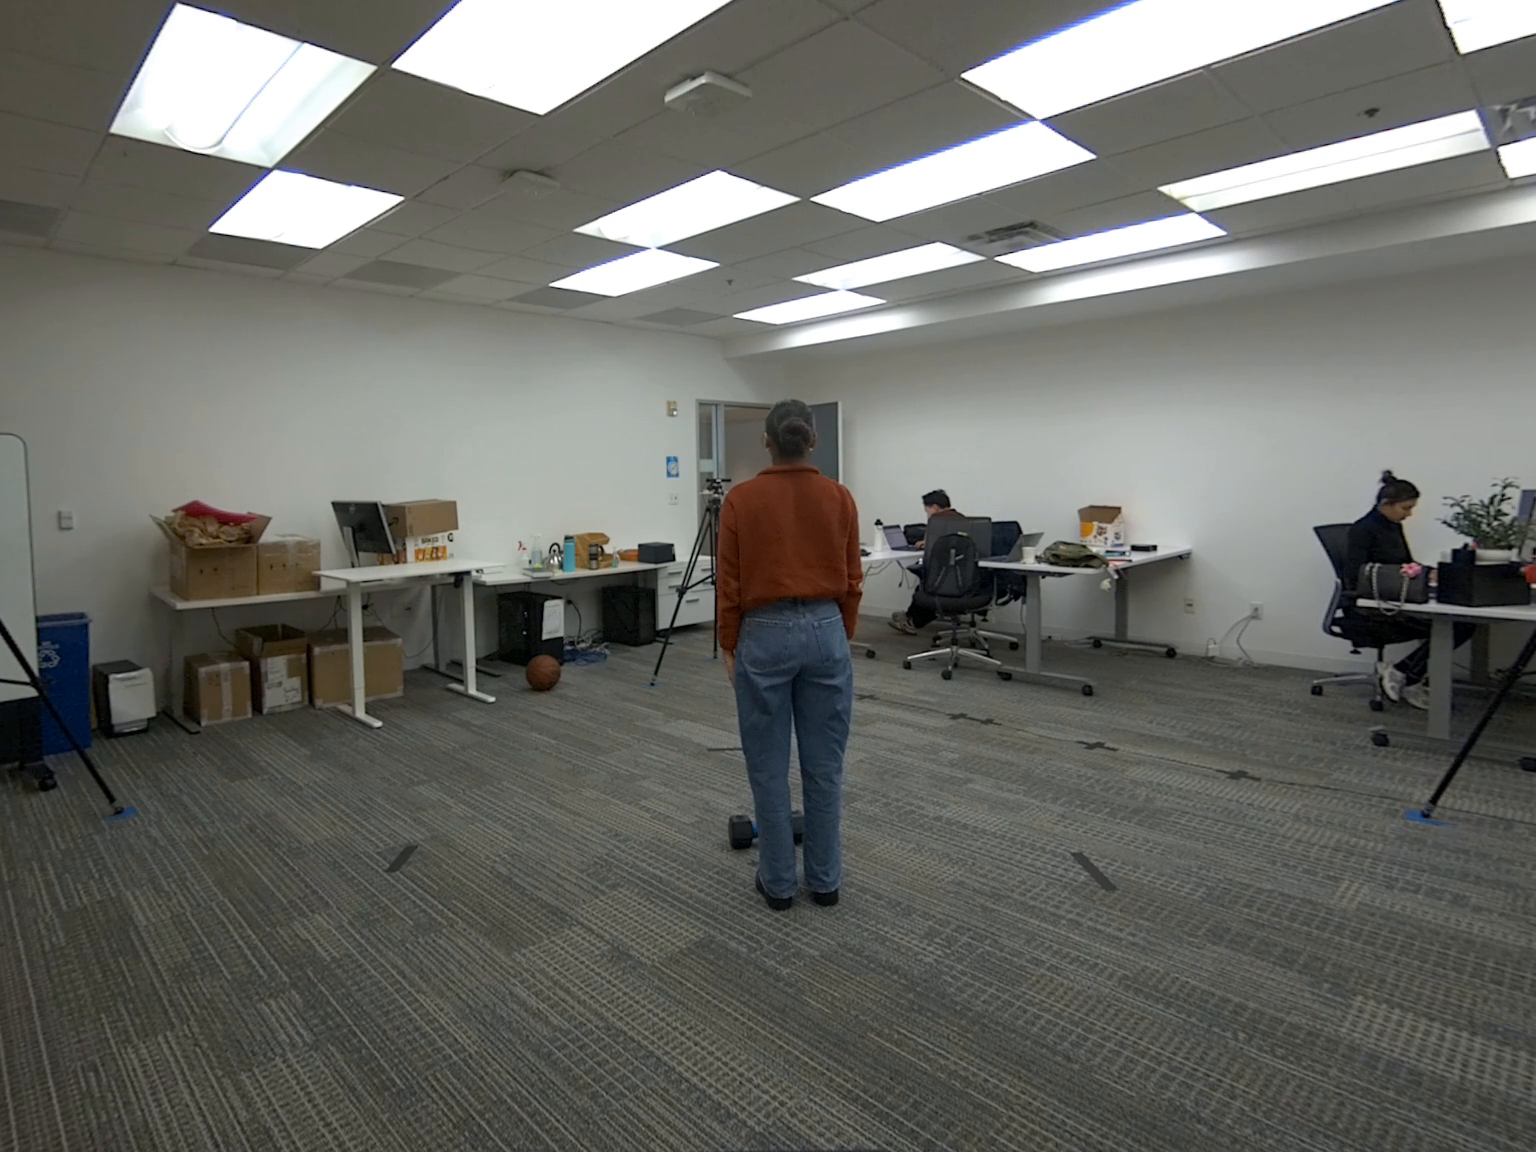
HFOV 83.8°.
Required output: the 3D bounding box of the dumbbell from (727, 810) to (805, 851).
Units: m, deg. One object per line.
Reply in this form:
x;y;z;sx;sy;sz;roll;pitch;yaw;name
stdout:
-0.001;0.971;3.273;0.291;0.108;0.125;-2;7;-9;dumbbell
